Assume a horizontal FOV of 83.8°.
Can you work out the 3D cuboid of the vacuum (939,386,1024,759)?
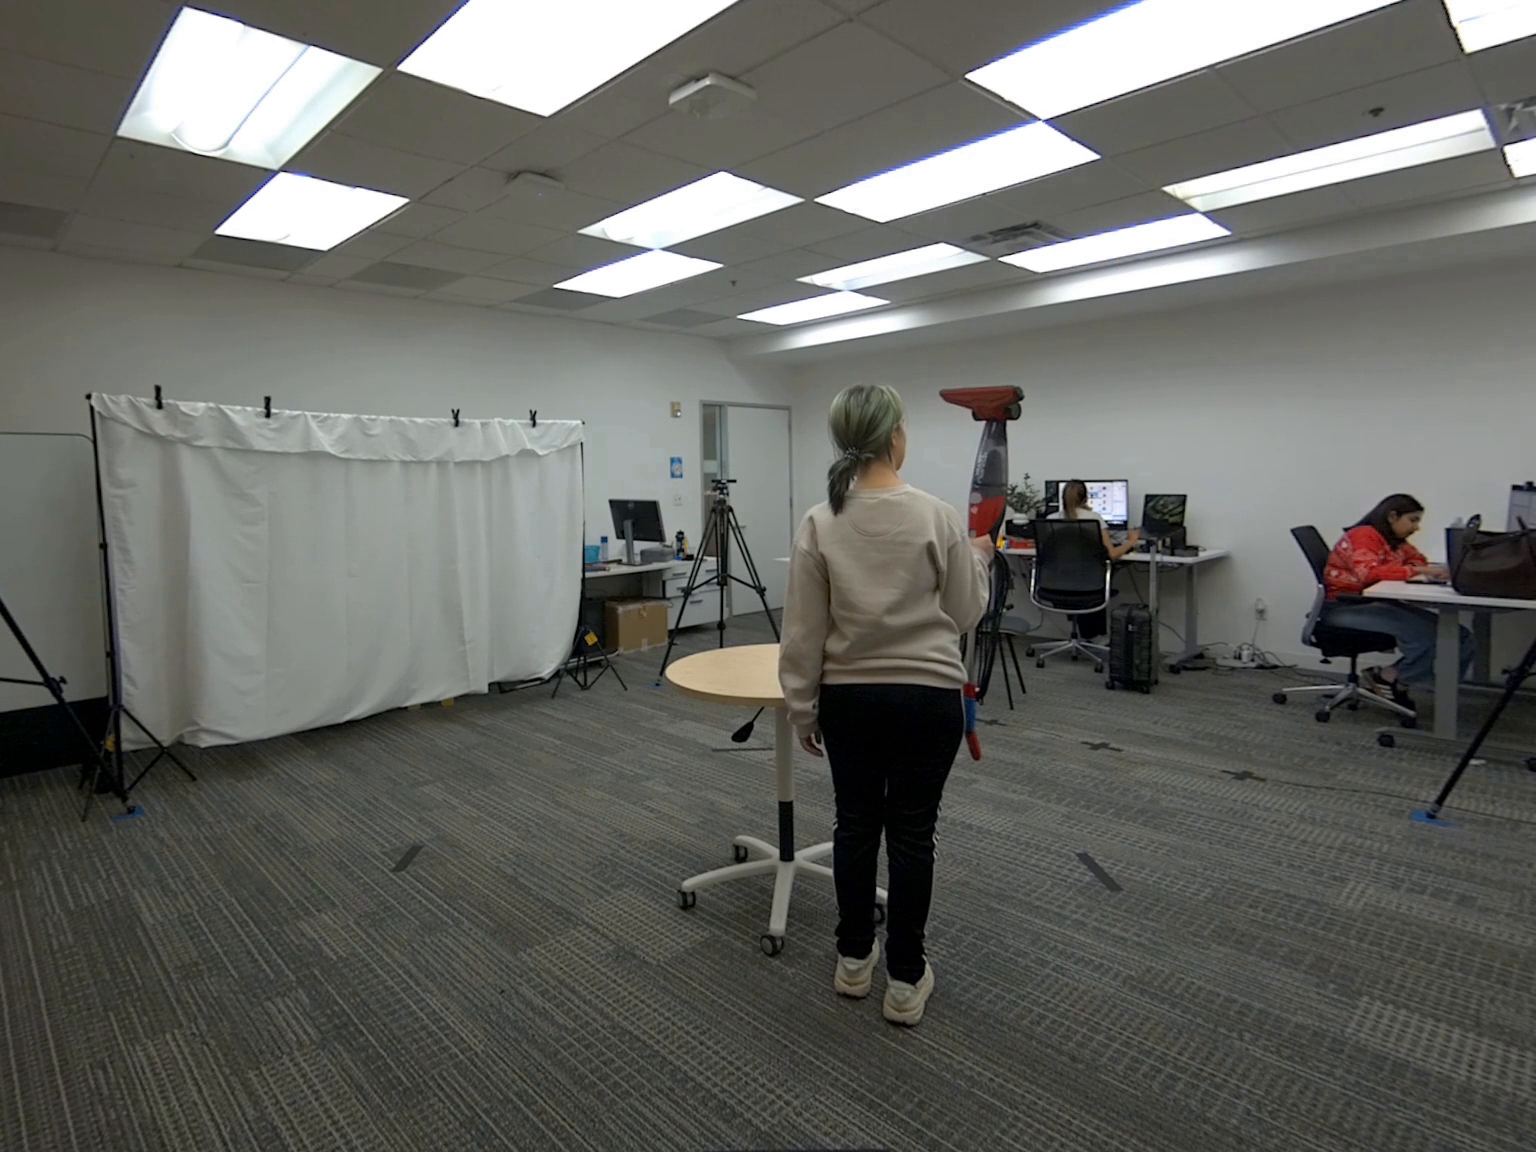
[{"bbox_3d":[0.635,0.006,2.471,0.140,1.043,0.261,-5,8,-41],"label":"vacuum"}]
